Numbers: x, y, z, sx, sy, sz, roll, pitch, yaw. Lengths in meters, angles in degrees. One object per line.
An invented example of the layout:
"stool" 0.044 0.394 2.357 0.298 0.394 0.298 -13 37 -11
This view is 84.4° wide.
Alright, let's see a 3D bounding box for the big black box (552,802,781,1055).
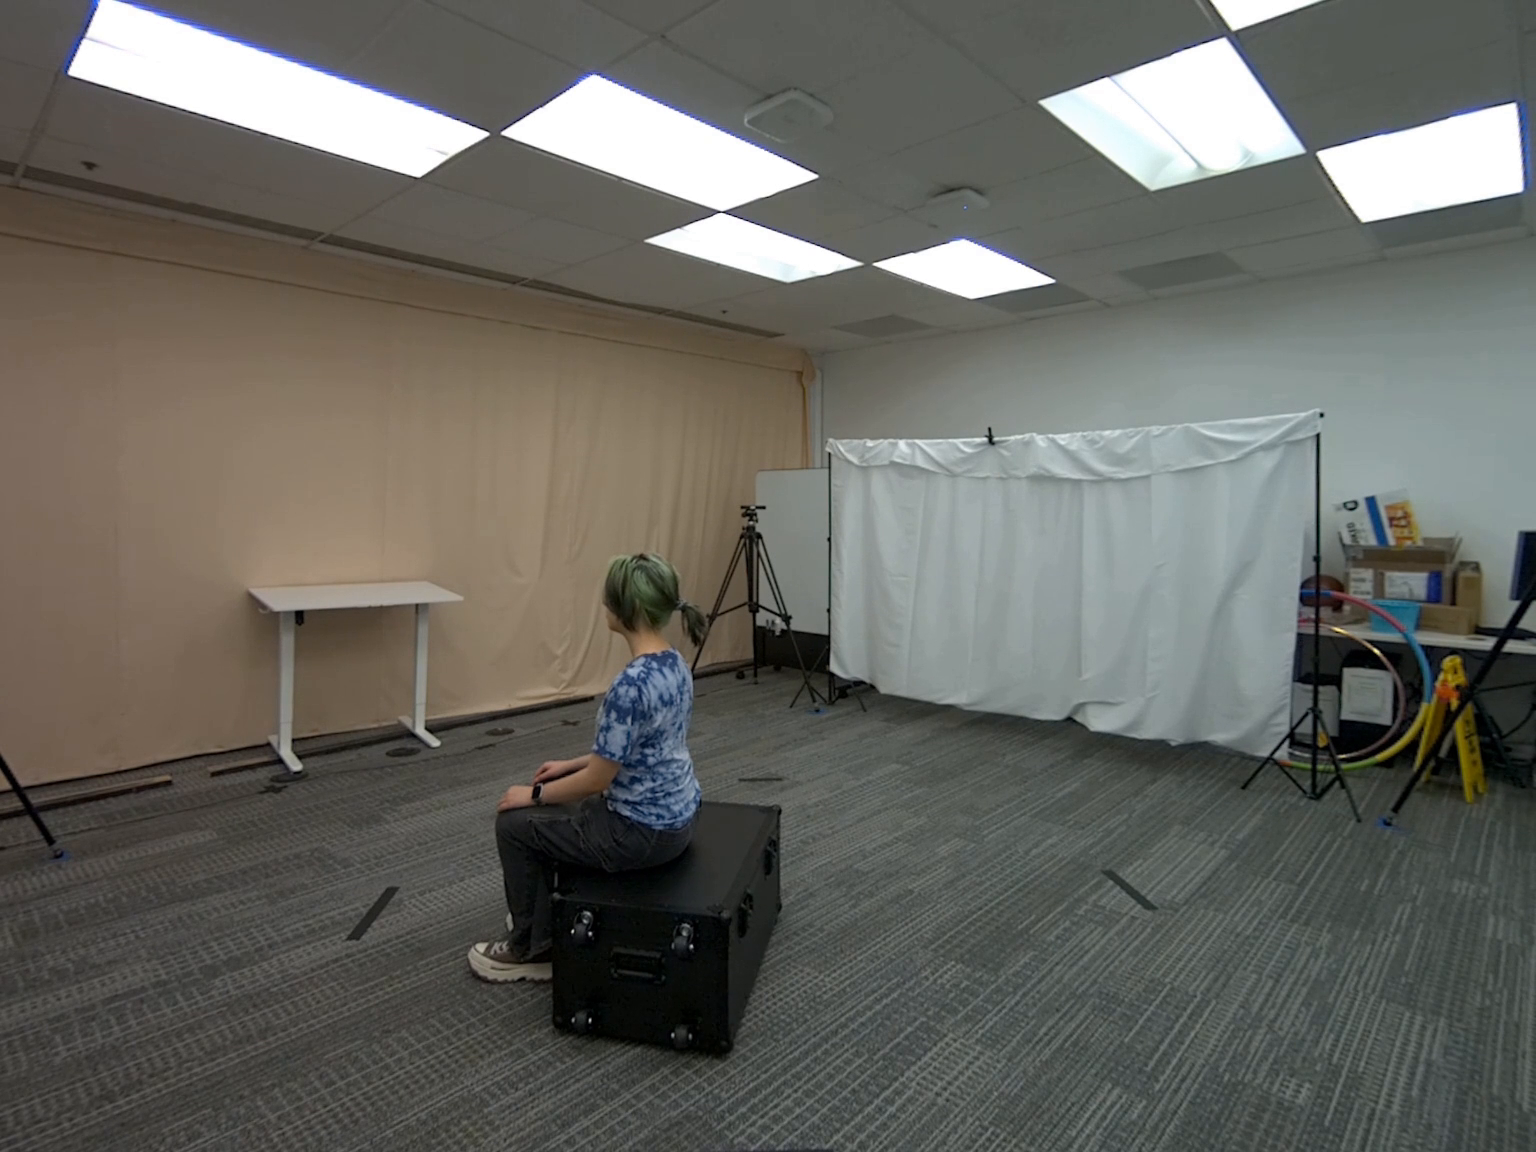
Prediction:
"big black box" -0.264 0.995 2.496 0.528 0.395 0.852 1 4 11
